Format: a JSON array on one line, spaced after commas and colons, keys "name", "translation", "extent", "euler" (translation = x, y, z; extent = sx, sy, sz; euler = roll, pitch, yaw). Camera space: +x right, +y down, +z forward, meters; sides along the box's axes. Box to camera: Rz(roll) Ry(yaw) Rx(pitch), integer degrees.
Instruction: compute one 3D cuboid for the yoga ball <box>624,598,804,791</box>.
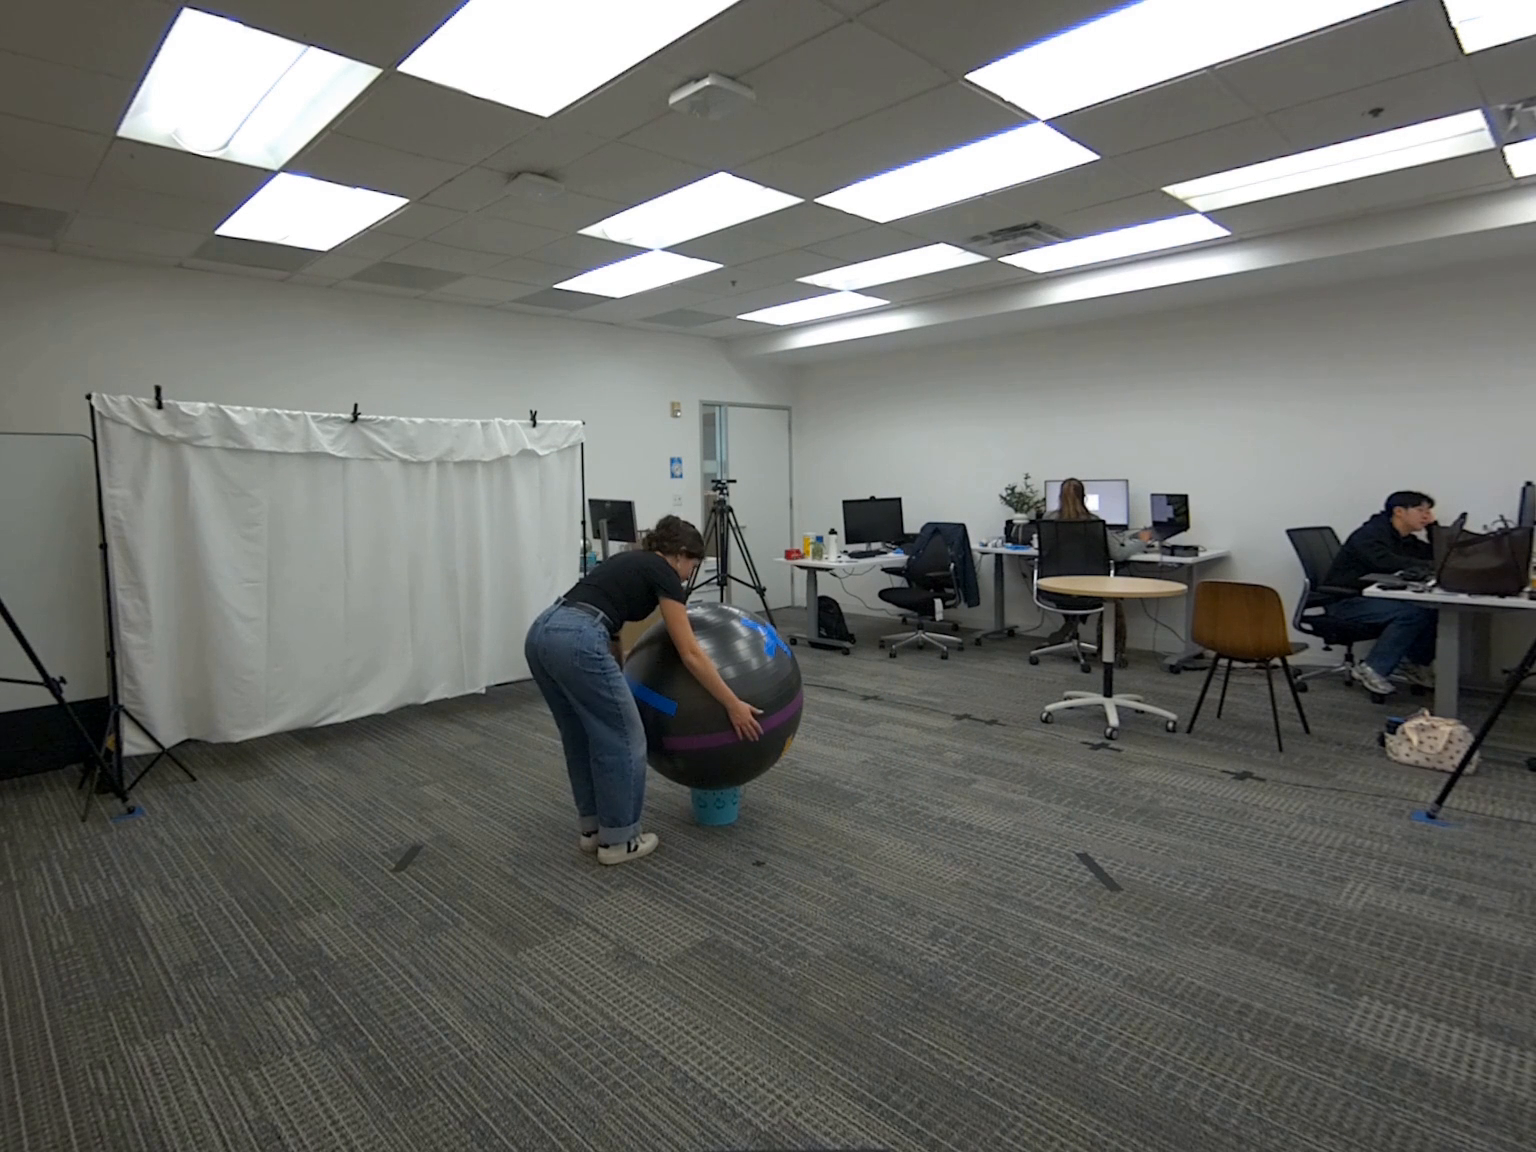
[{"name": "yoga ball", "translation": [-0.237, 0.494, 3.524], "extent": [0.757, 0.755, 0.762], "euler": [-1, 5, -2]}]
